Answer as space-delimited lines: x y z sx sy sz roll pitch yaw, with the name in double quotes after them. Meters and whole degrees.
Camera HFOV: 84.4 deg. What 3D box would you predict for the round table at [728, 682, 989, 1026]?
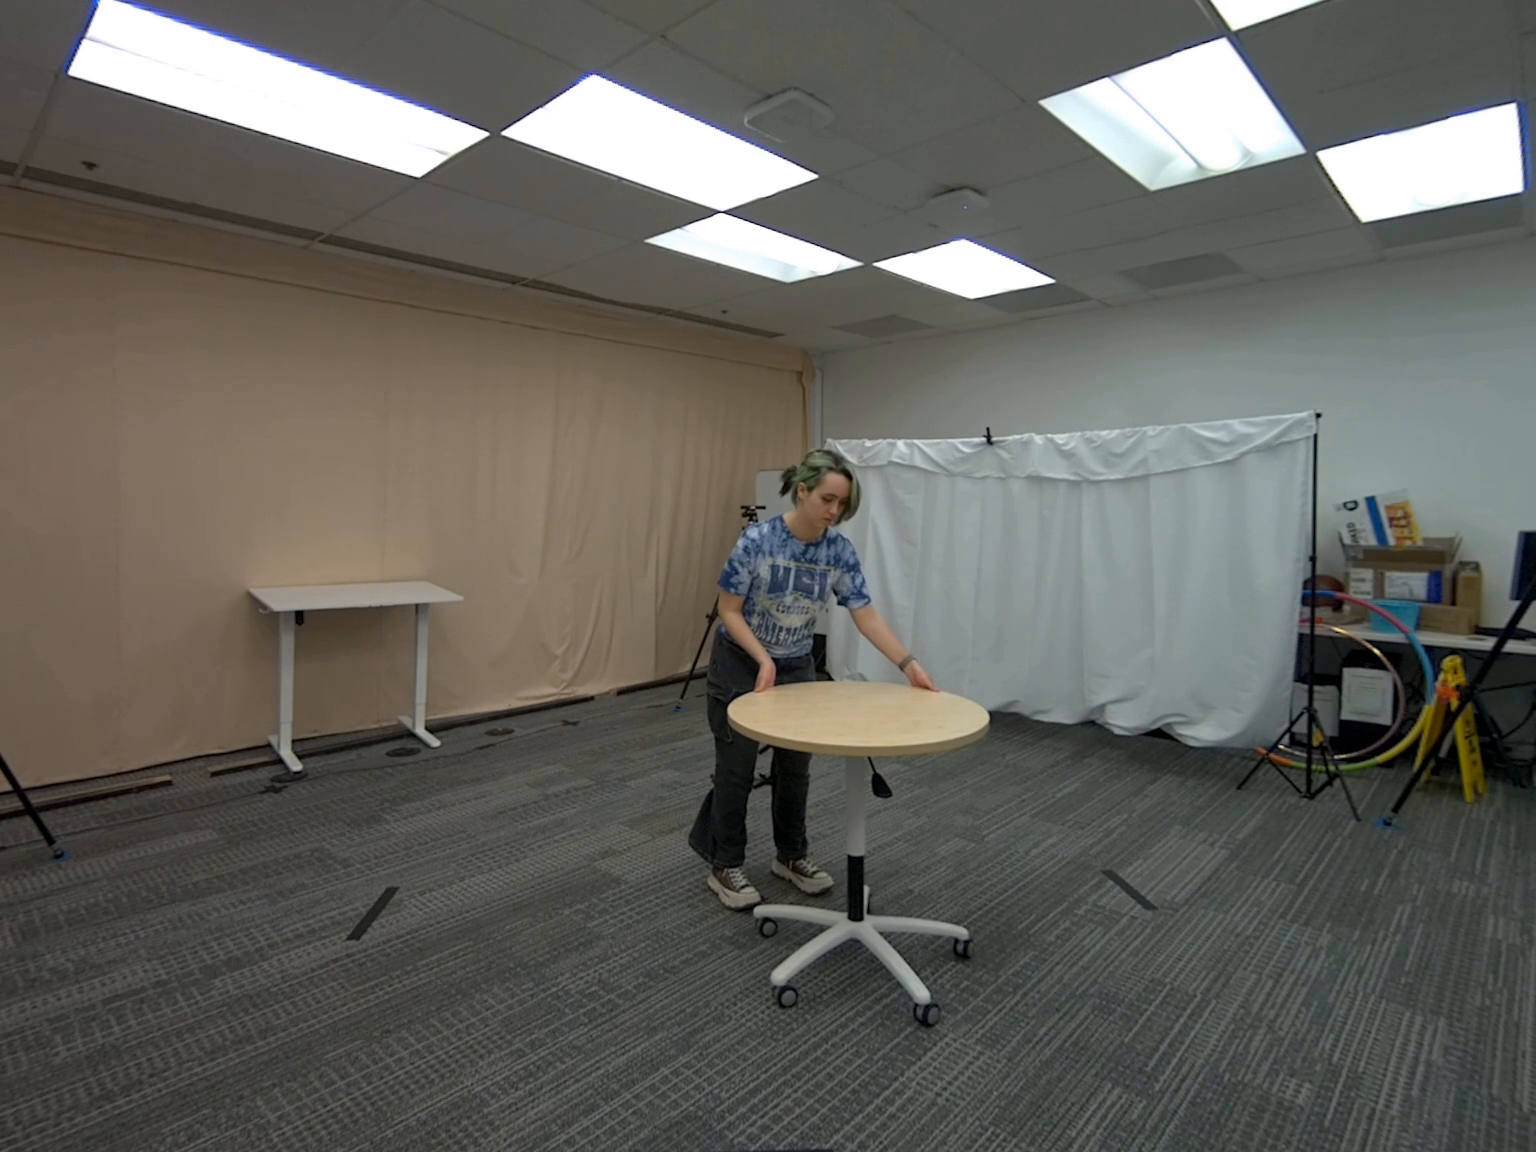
0.273 0.792 2.537 0.763 0.792 0.767 0 4 -2 "round table"
